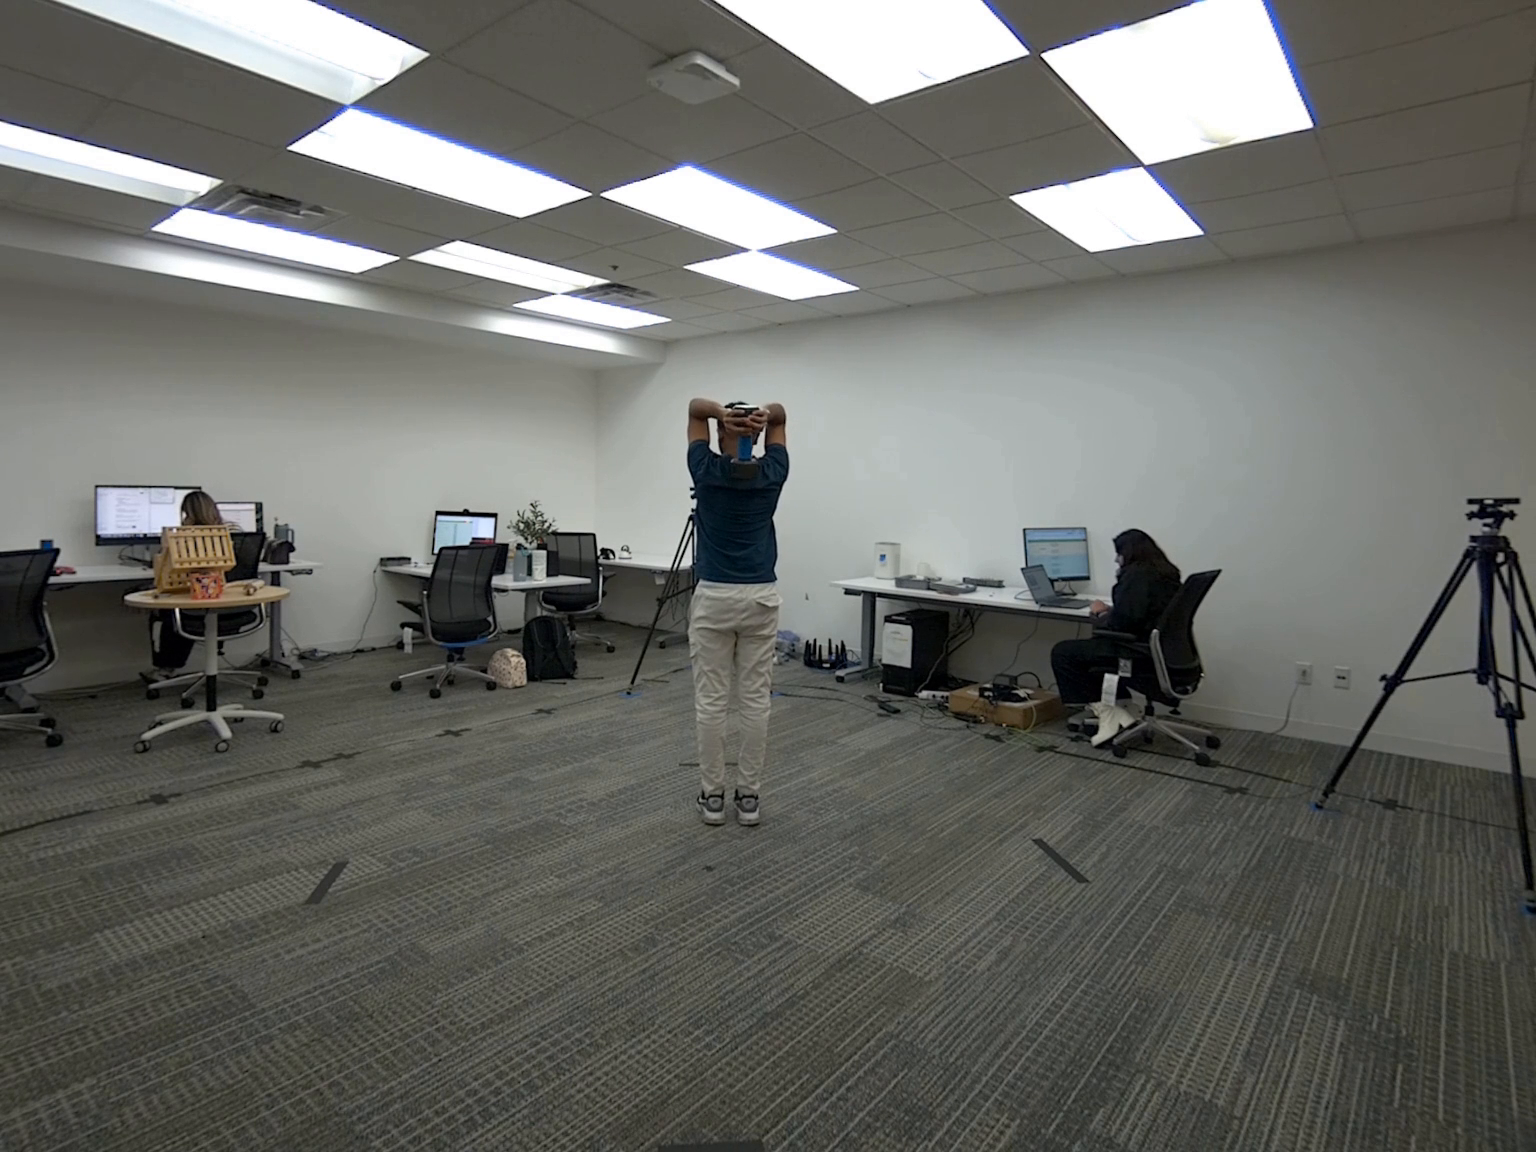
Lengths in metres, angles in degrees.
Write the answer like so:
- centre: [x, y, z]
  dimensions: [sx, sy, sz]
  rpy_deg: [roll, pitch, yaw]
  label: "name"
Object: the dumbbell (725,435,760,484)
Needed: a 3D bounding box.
- centre: [-0.091, -0.540, 3.406]
  dimensions: [0.109, 0.290, 0.124]
  rpy_deg: [5, 13, 3]
  label: "dumbbell"
